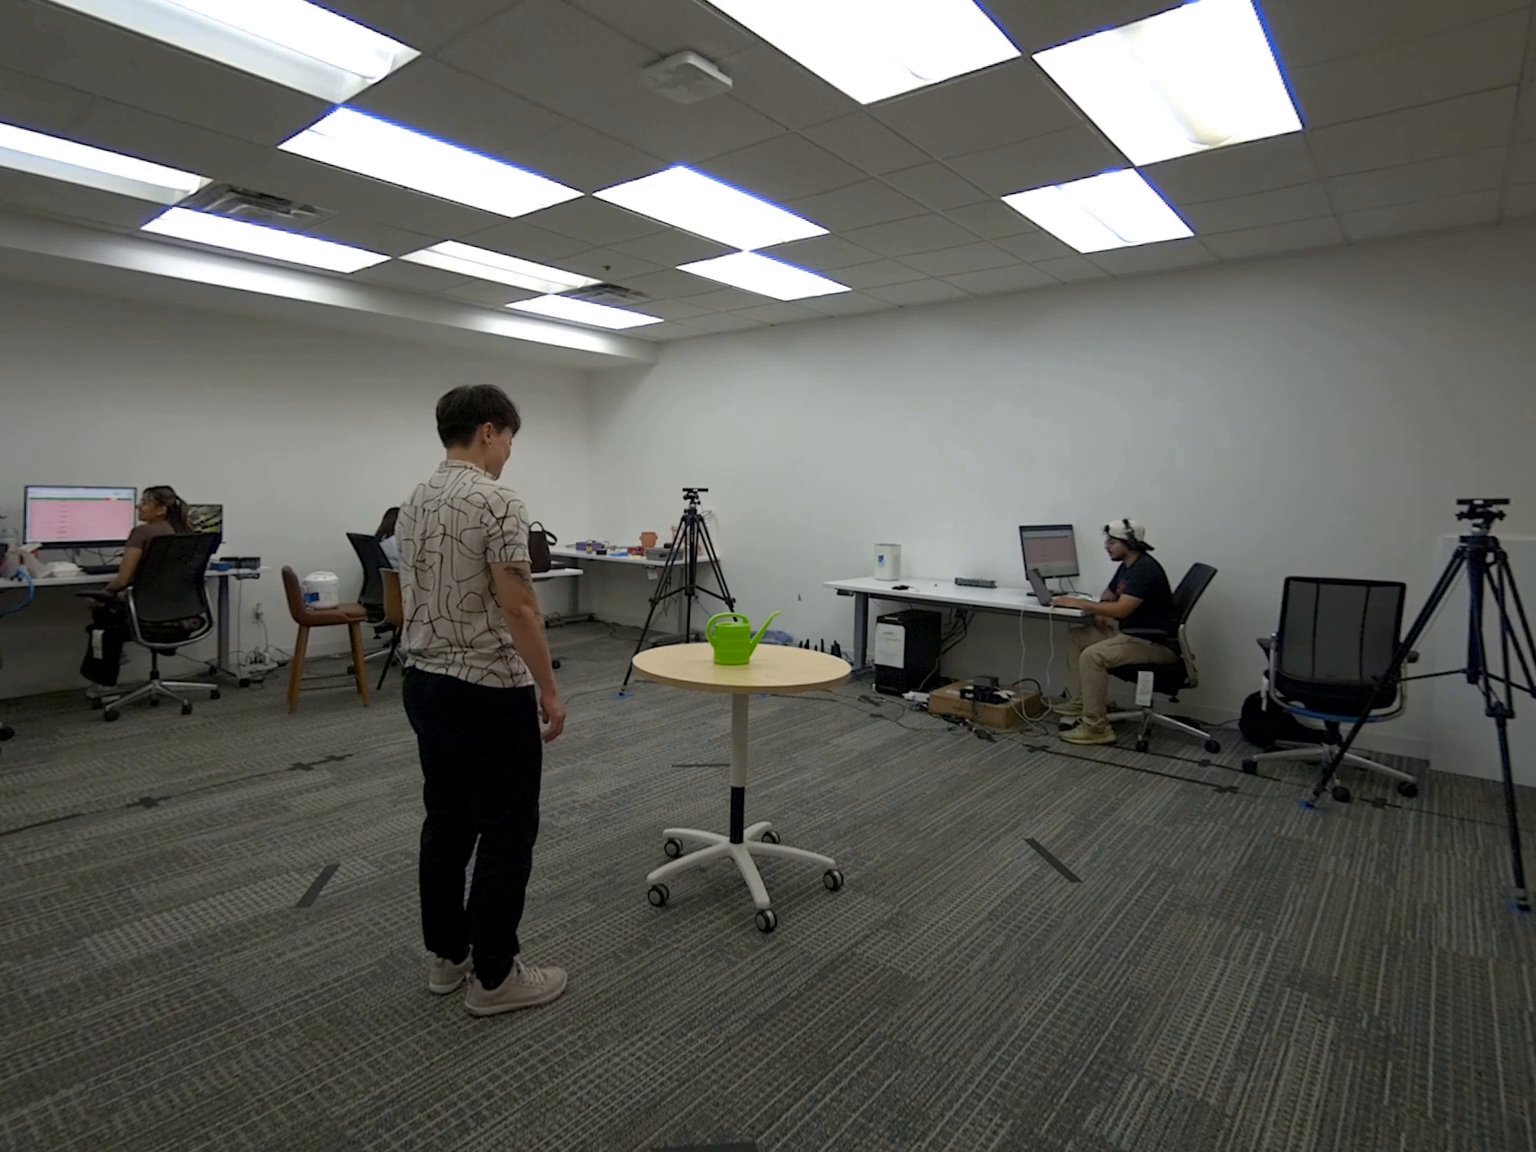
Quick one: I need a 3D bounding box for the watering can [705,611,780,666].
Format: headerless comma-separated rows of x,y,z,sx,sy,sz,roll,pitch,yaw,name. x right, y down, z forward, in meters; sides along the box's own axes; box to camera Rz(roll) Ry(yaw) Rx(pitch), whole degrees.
-0.091,0.221,2.964,0.277,0.176,0.099,1,6,-4,watering can
